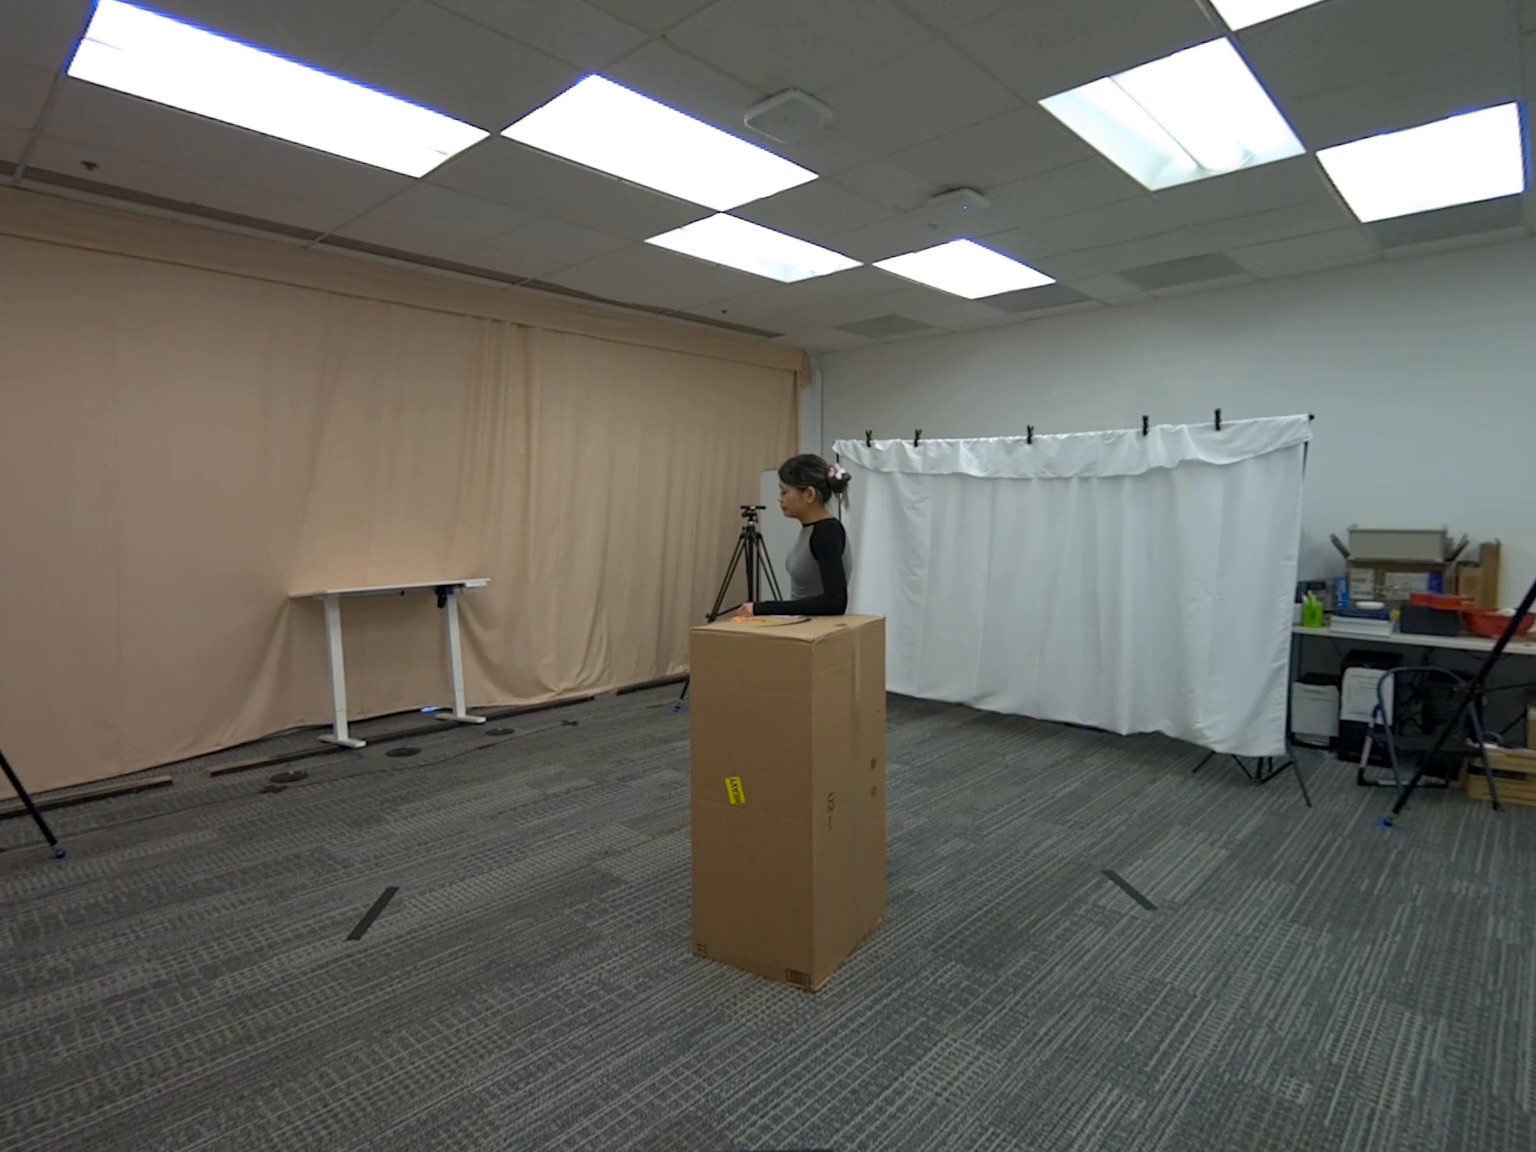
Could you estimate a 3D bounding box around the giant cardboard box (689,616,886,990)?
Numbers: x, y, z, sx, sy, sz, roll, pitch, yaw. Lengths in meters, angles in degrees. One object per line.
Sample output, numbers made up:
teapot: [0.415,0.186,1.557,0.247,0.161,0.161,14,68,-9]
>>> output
giant cardboard box: [0.083,0.656,2.726,0.439,1.024,0.562,2,3,31]
